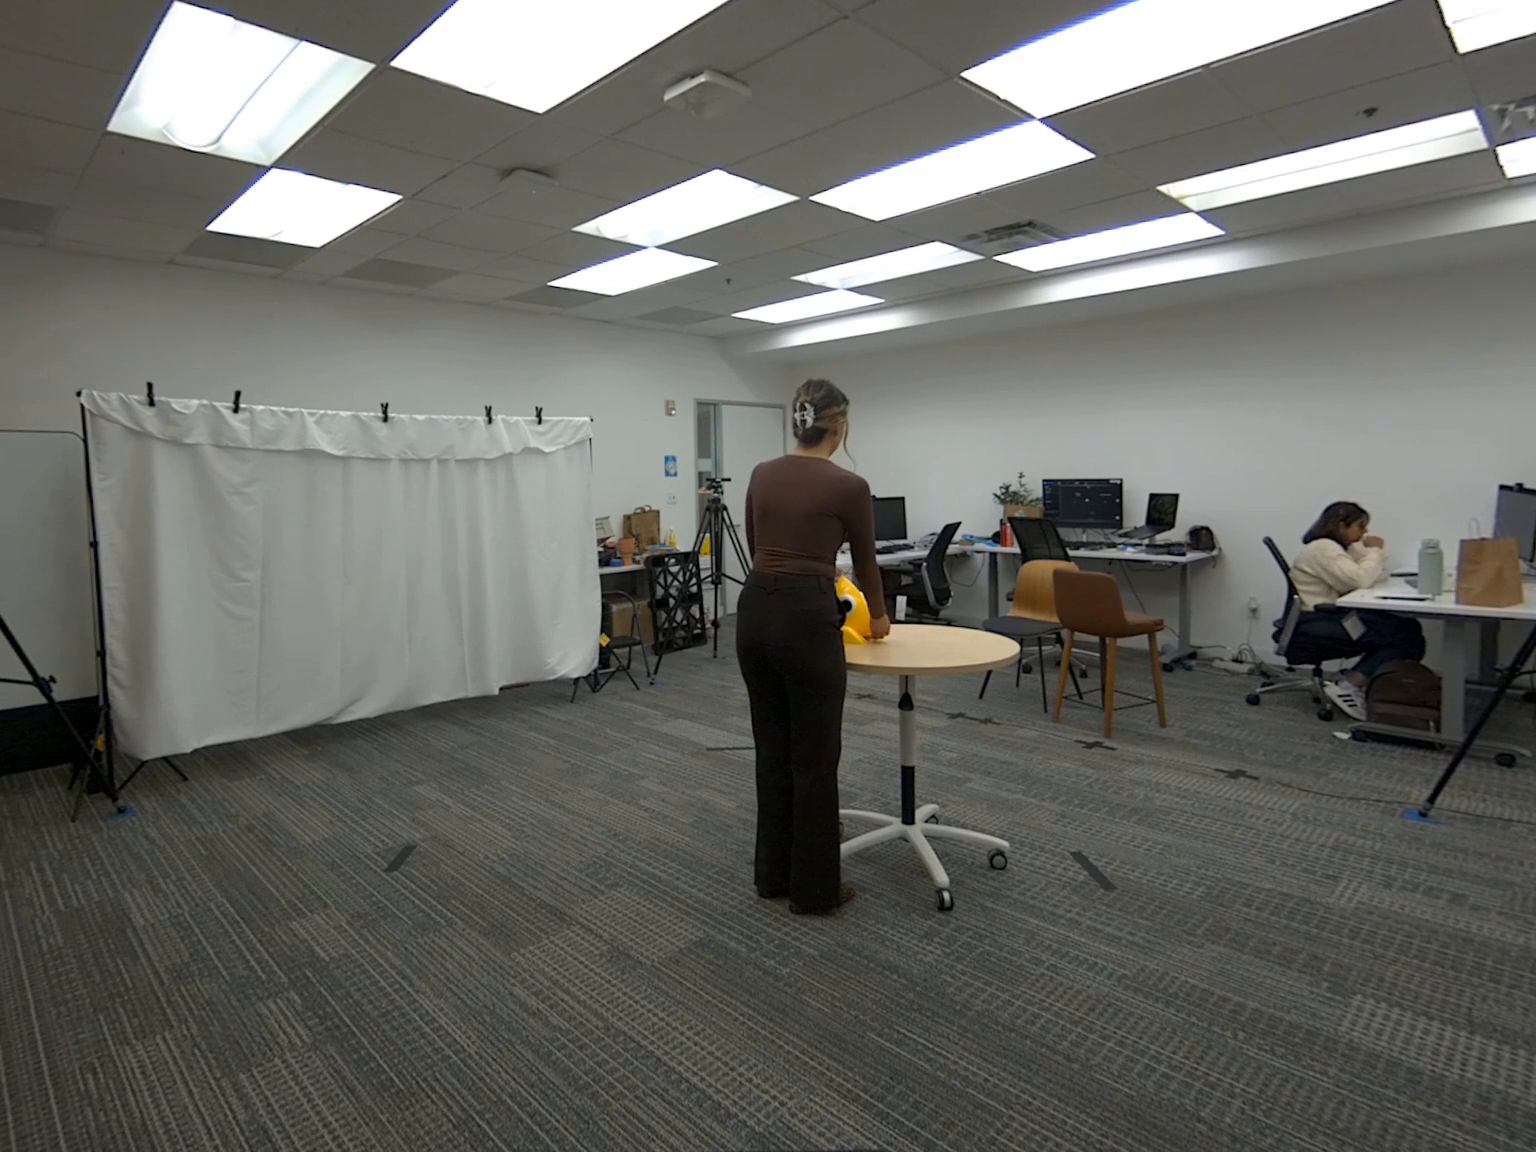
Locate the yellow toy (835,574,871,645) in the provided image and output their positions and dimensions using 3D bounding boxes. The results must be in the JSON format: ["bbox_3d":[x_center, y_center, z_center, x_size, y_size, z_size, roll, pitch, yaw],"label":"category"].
[{"bbox_3d":[0.321,0.118,3.164,0.199,0.230,0.199,-5,7,-43],"label":"yellow toy"}]
